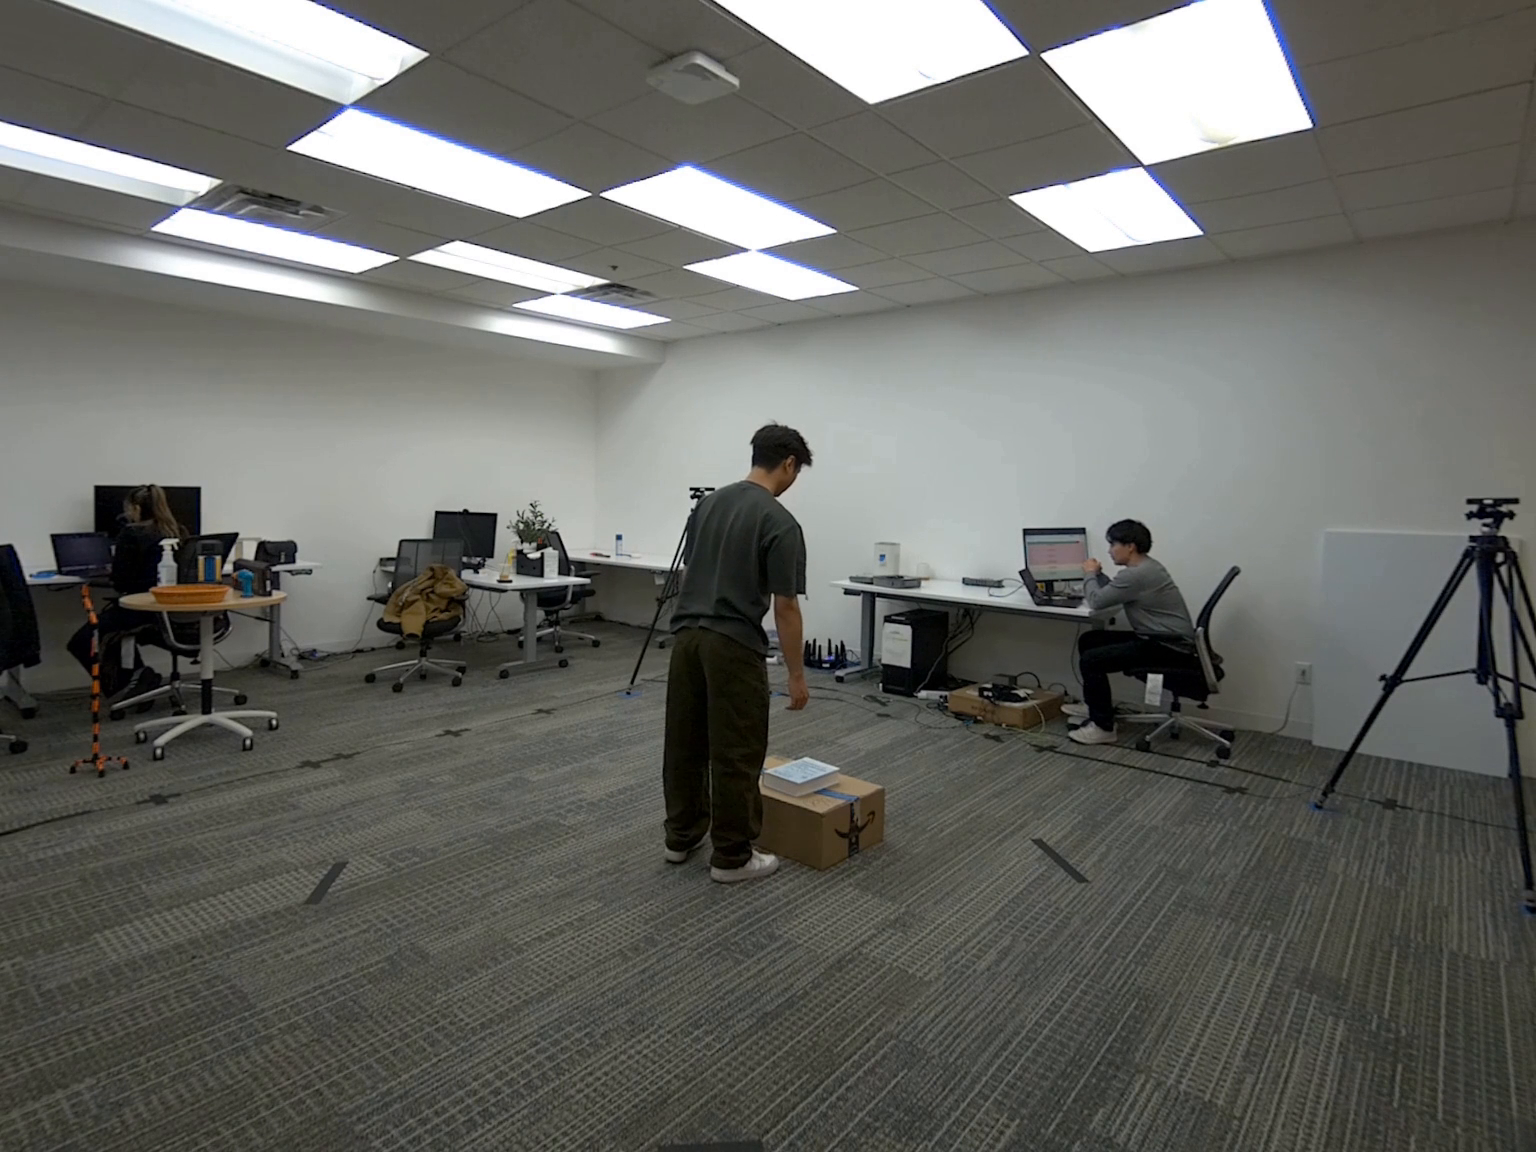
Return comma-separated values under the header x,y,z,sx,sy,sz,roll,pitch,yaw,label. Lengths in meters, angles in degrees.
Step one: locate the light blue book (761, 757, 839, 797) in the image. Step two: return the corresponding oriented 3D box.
x,y,z,sx,sy,sz,roll,pitch,yaw,label
0.127,0.803,3.431,0.198,0.059,0.253,8,9,44,light blue book
